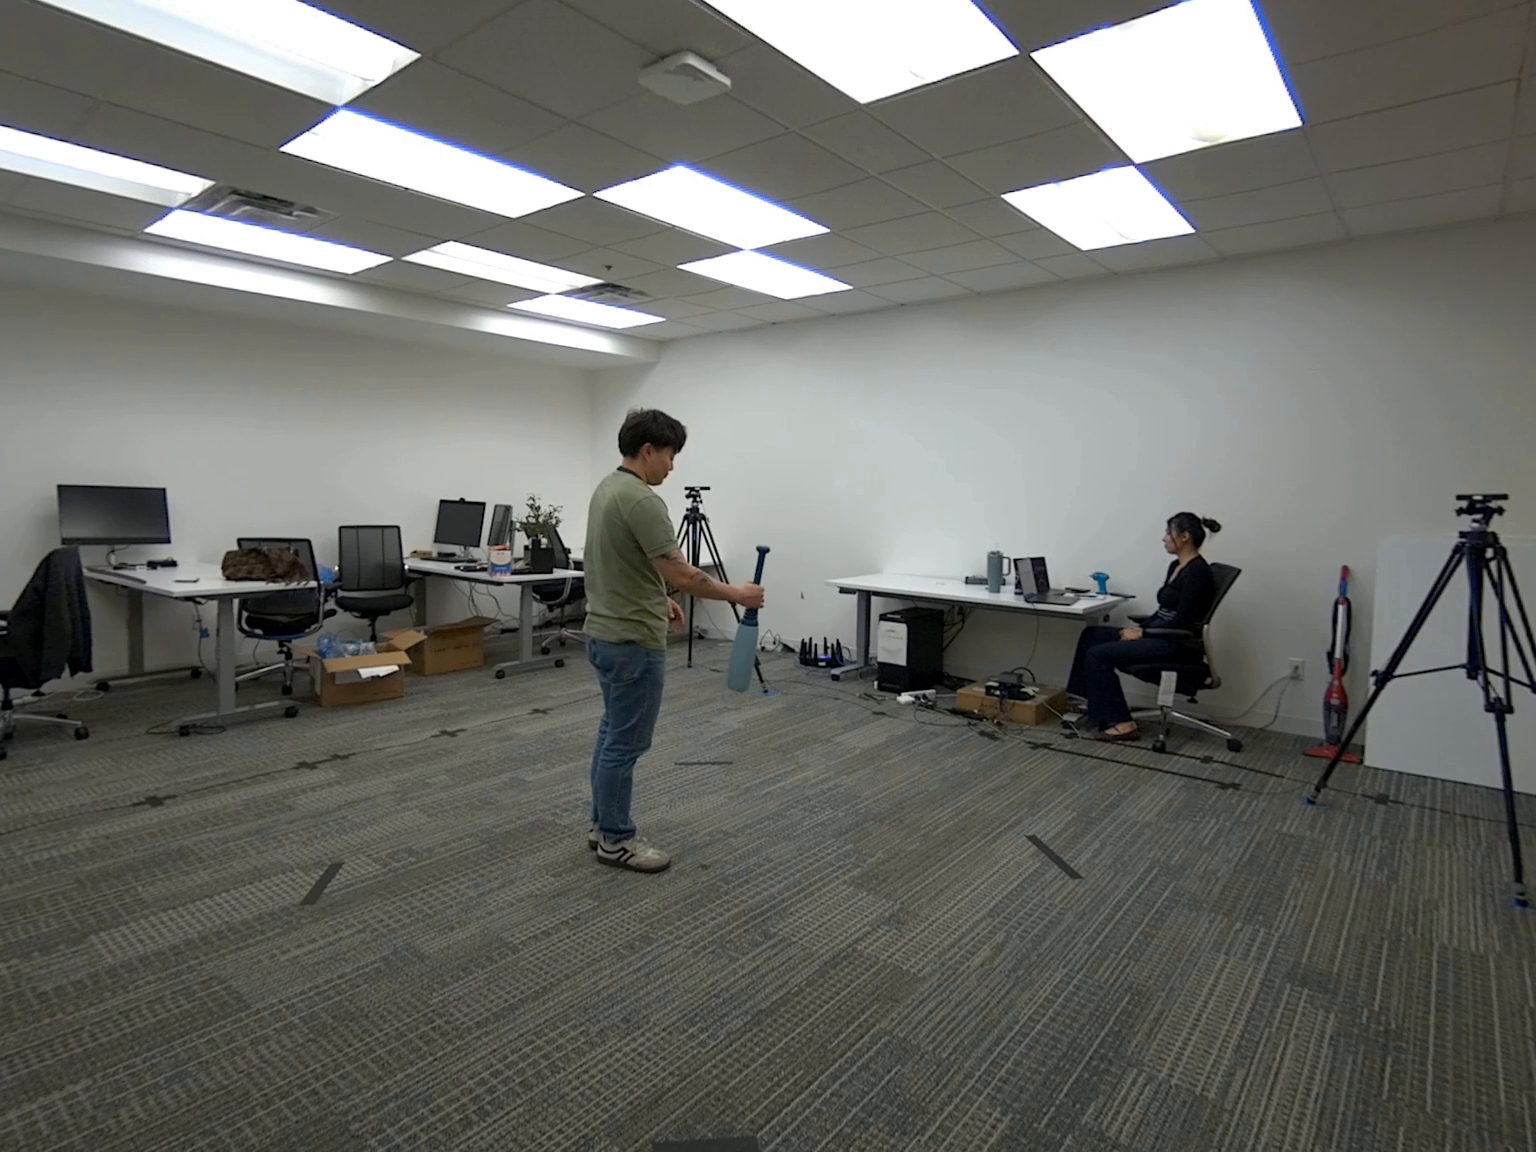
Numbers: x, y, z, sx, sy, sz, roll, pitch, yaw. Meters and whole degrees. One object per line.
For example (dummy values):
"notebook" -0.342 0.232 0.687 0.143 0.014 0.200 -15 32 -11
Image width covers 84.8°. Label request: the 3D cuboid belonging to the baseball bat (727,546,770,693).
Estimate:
"baseball bat" -0.074 0.155 3.088 0.089 0.541 0.089 10 5 -3
